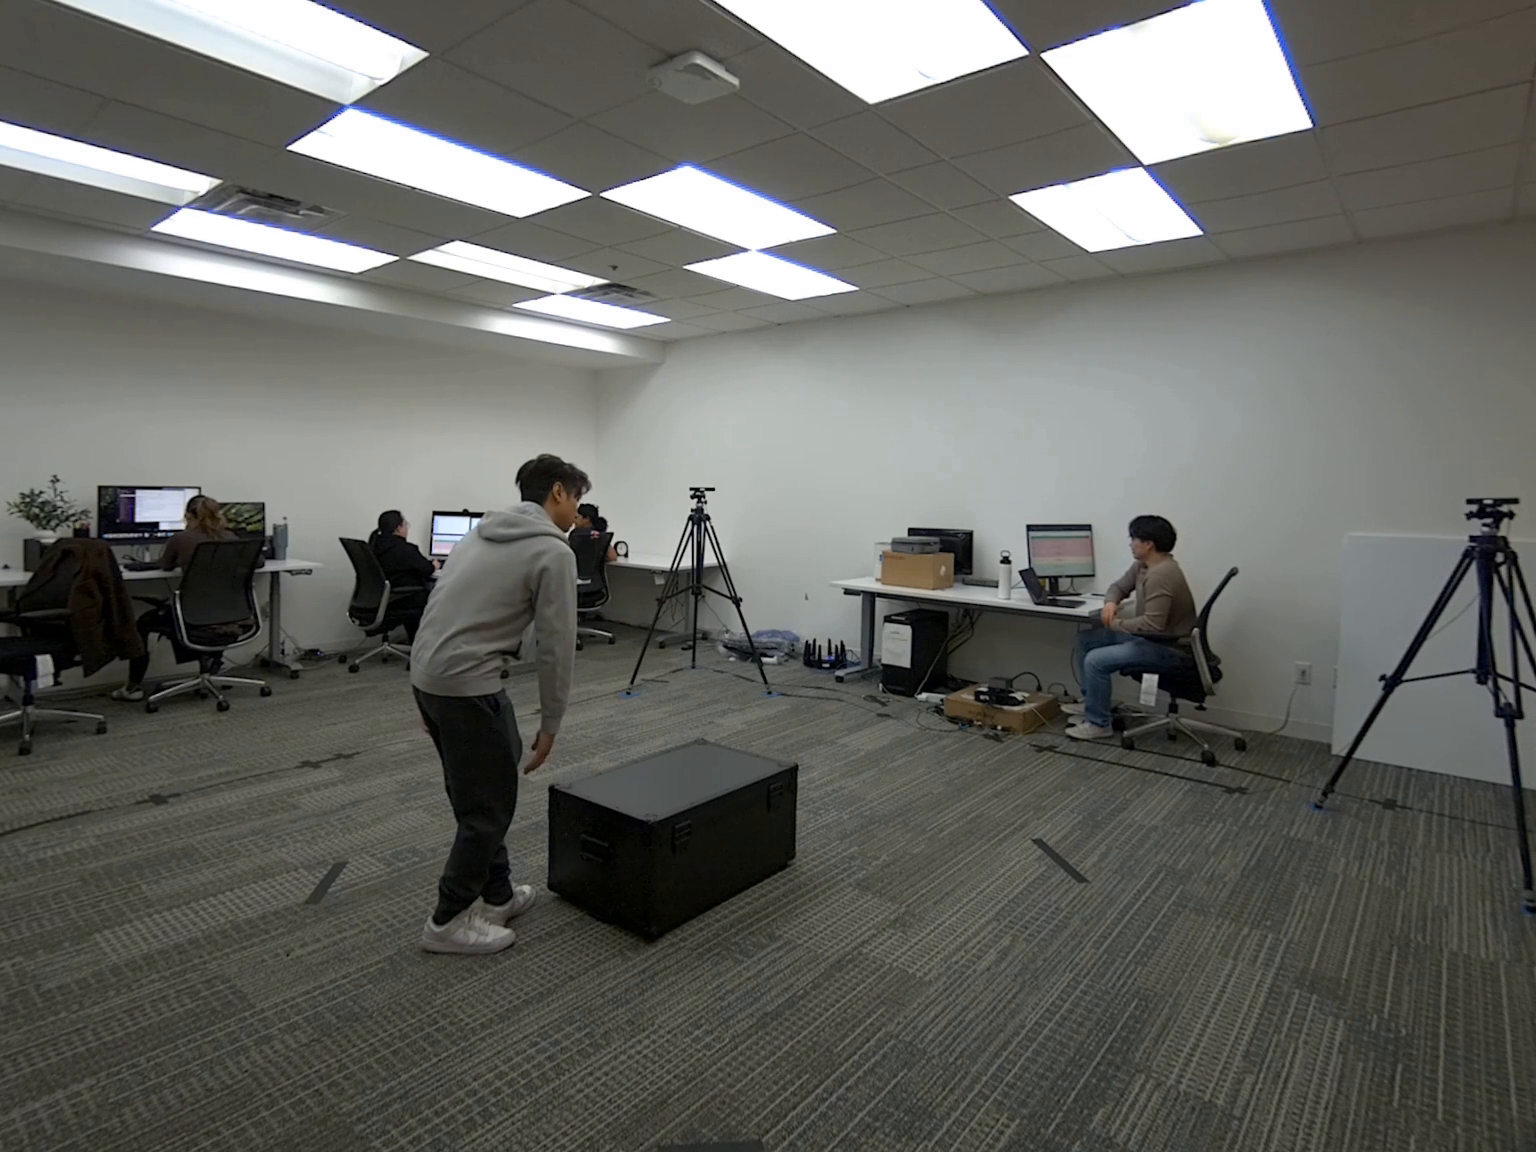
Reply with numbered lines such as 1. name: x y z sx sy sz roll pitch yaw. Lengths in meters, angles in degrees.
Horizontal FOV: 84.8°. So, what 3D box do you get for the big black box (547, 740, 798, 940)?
1. big black box: -0.303 0.882 3.028 0.538 0.394 0.837 5 7 37
